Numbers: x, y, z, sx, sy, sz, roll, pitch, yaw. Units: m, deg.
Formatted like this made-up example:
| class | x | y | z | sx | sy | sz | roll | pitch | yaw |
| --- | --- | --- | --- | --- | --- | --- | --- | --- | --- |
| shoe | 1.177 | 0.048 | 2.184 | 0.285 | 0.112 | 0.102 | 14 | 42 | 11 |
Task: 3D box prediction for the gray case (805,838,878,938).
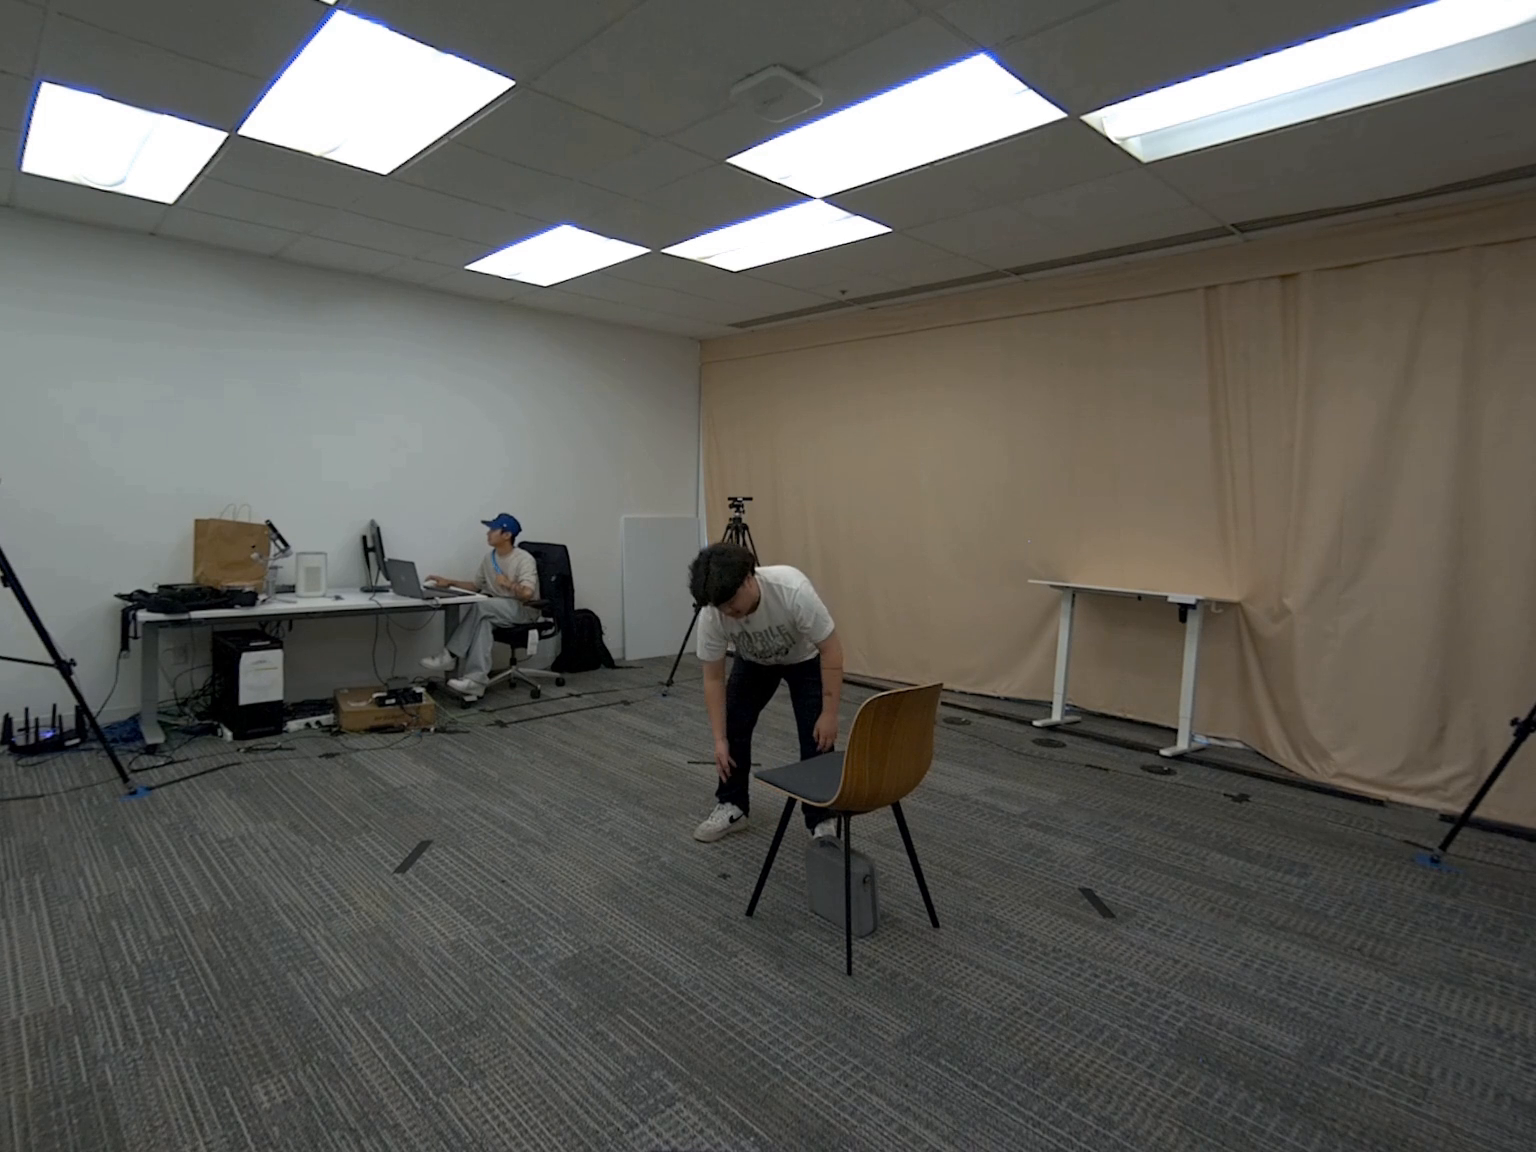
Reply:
| class | x | y | z | sx | sy | sz | roll | pitch | yaw |
| --- | --- | --- | --- | --- | --- | --- | --- | --- | --- |
| gray case | 0.235 | 1.020 | 2.771 | 0.102 | 0.259 | 0.263 | -12 | 11 | -38 |
